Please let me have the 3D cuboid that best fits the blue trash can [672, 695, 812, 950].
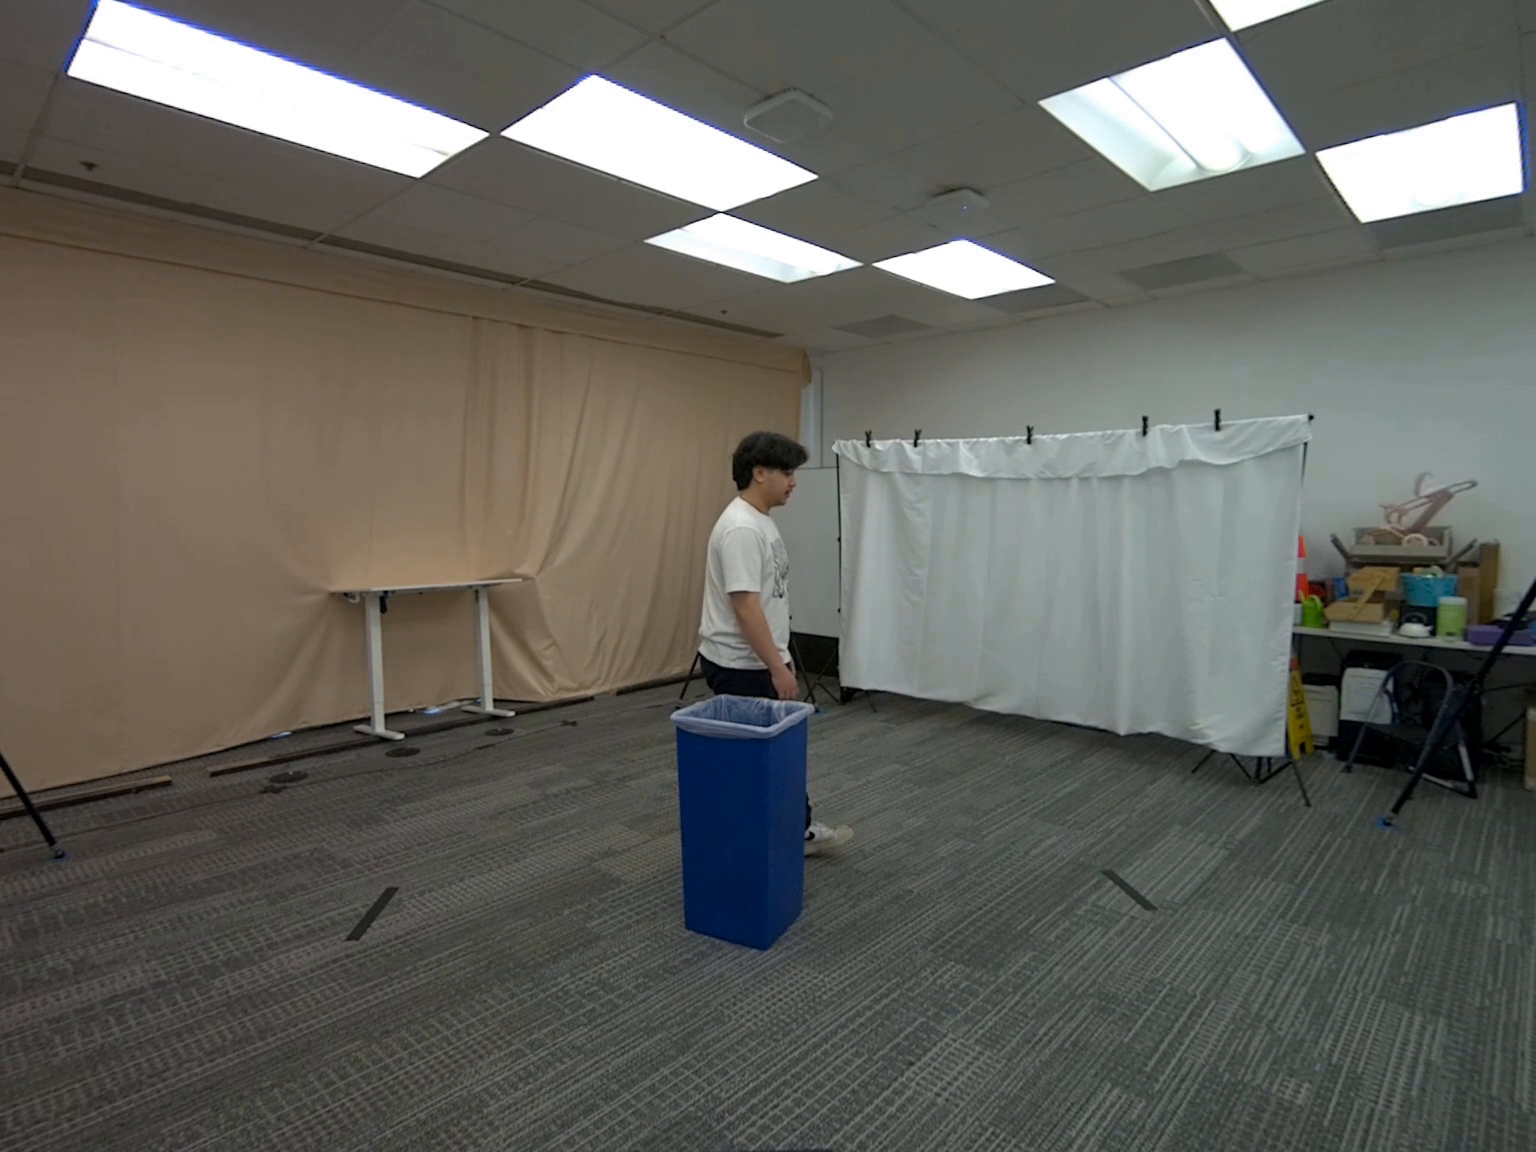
[{"bbox_3d":[-0.079,0.800,2.805,0.388,0.712,0.365,1,3,27],"label":"blue trash can"}]
